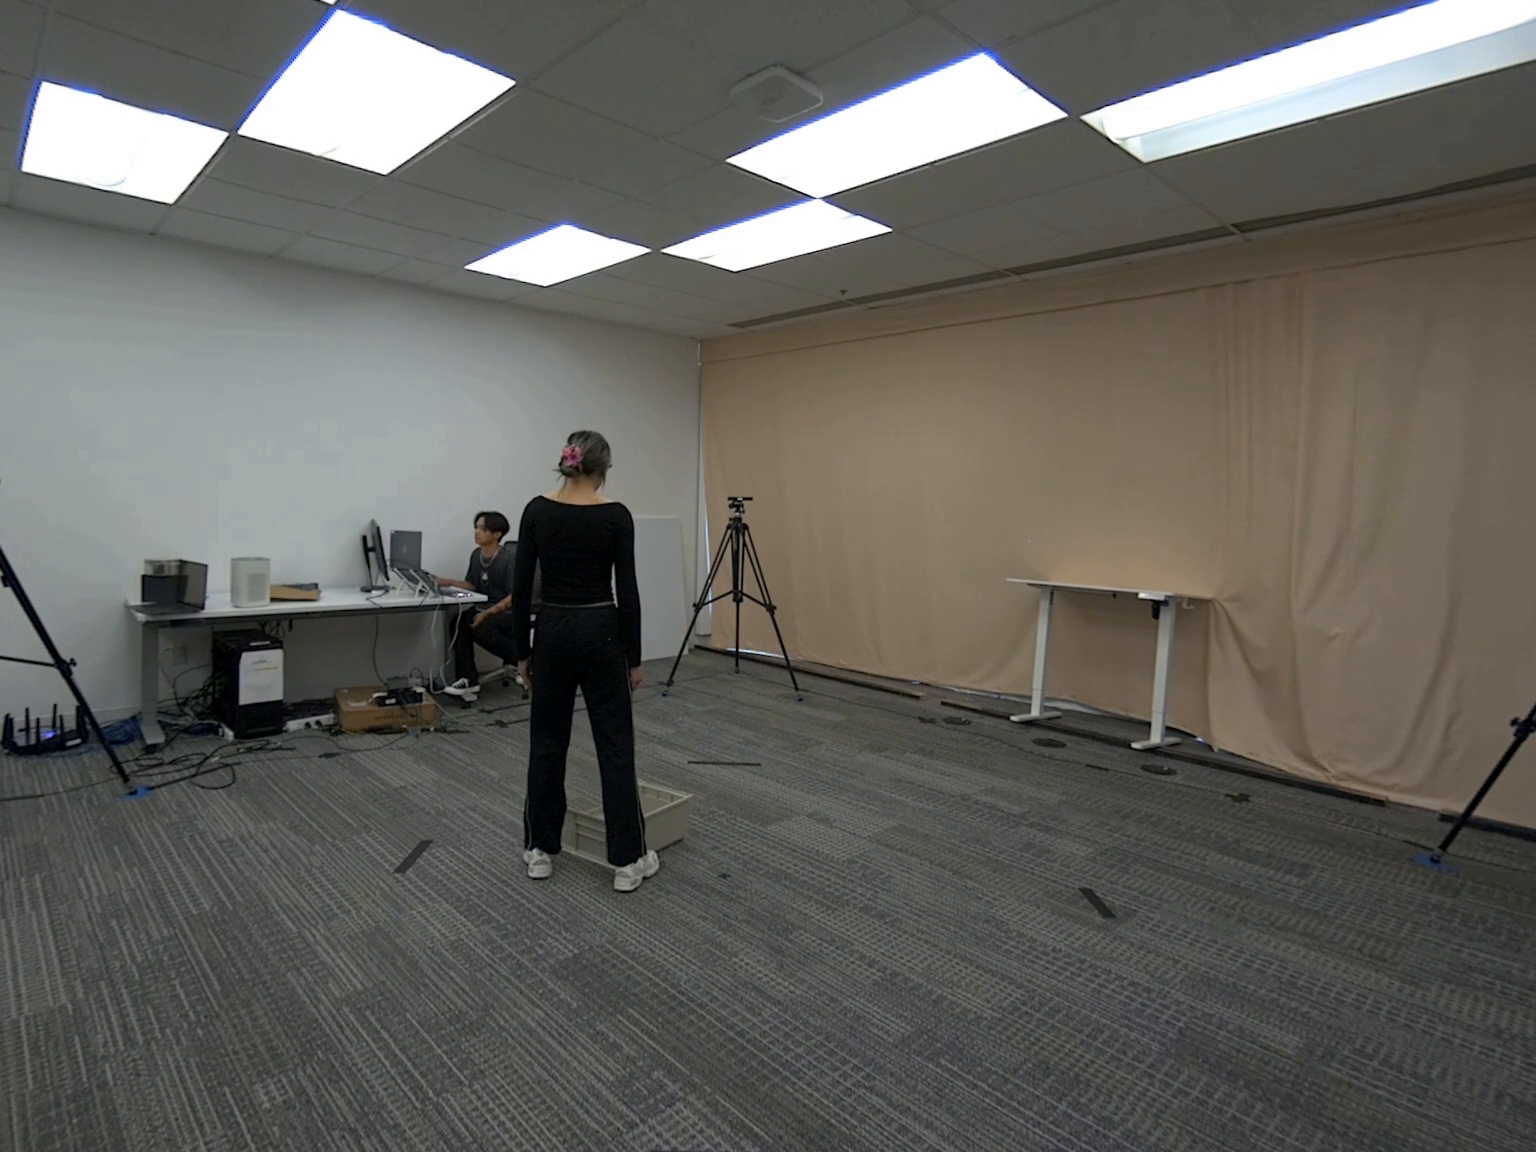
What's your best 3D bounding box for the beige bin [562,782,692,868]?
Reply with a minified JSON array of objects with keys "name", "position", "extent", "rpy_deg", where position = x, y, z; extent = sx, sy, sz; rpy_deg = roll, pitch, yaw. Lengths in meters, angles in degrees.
[{"name":"beige bin","position":[-0.587,0.983,3.381],"extent":[0.386,0.188,0.413],"rpy_deg":[6,7,35]}]
